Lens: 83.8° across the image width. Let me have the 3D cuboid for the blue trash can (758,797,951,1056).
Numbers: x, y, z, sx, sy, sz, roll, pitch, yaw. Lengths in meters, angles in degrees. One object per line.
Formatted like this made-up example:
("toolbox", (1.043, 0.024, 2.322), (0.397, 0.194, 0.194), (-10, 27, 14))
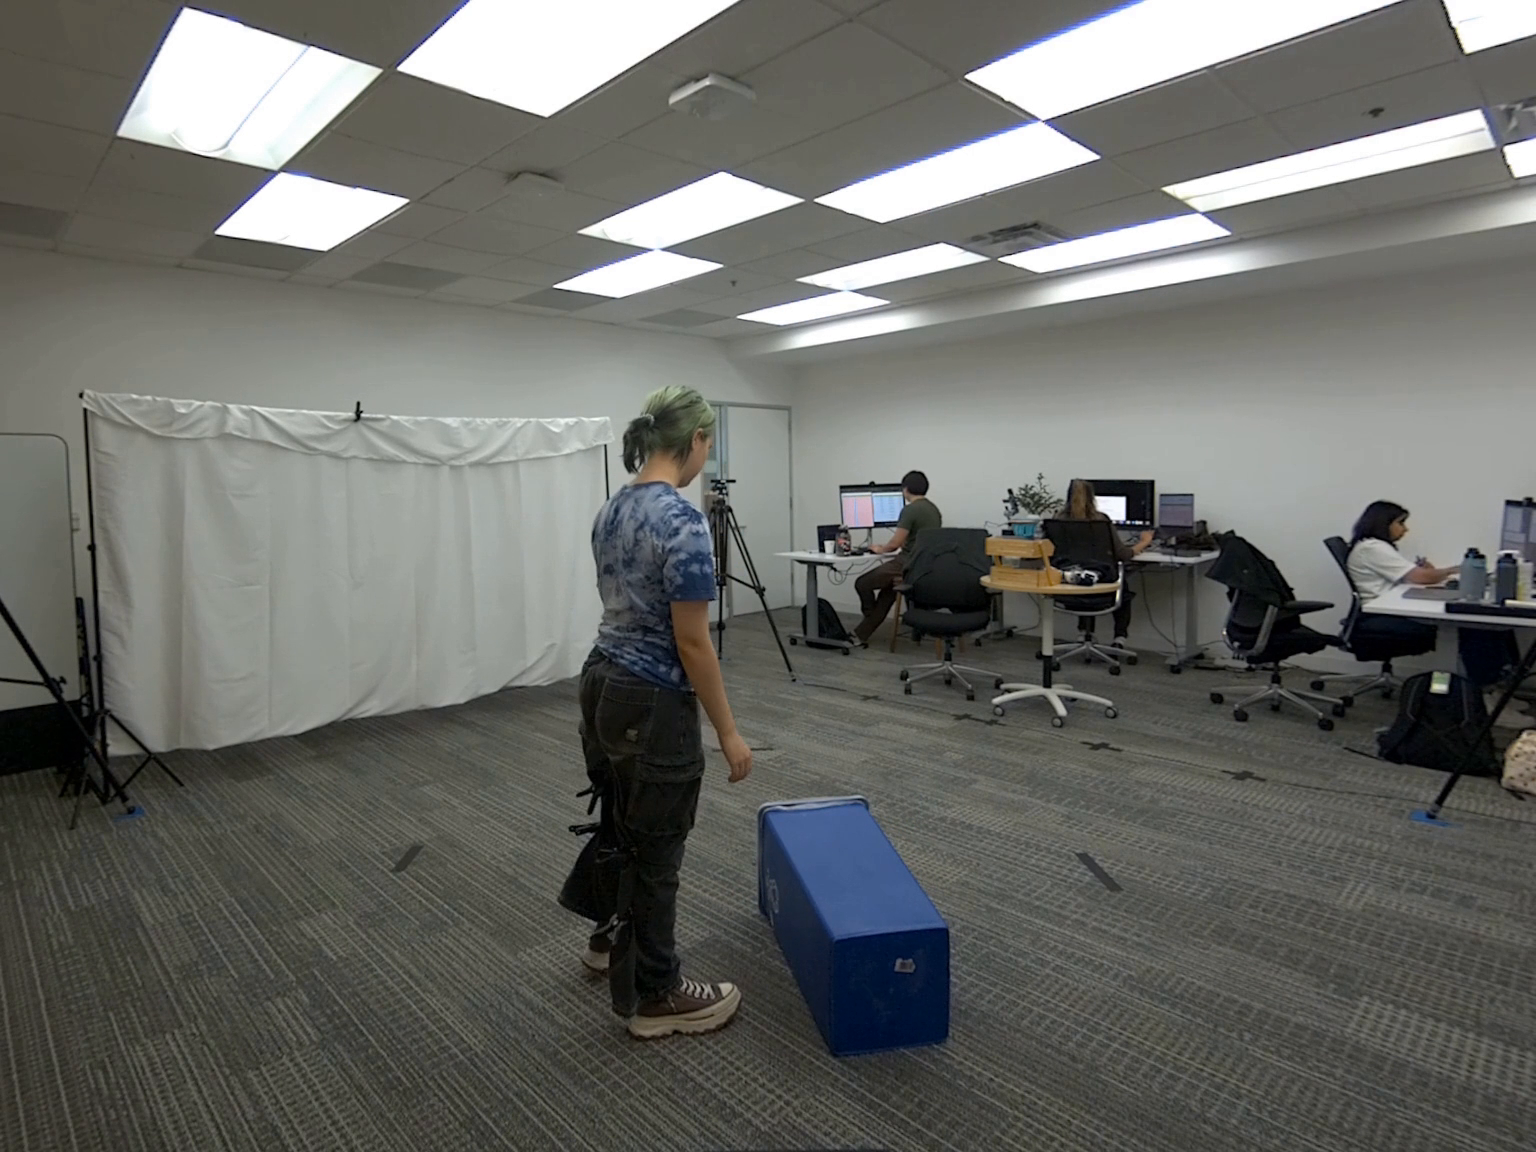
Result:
("blue trash can", (0.230, 0.946, 2.422), (0.374, 0.372, 0.726), (-2, 8, -12))
